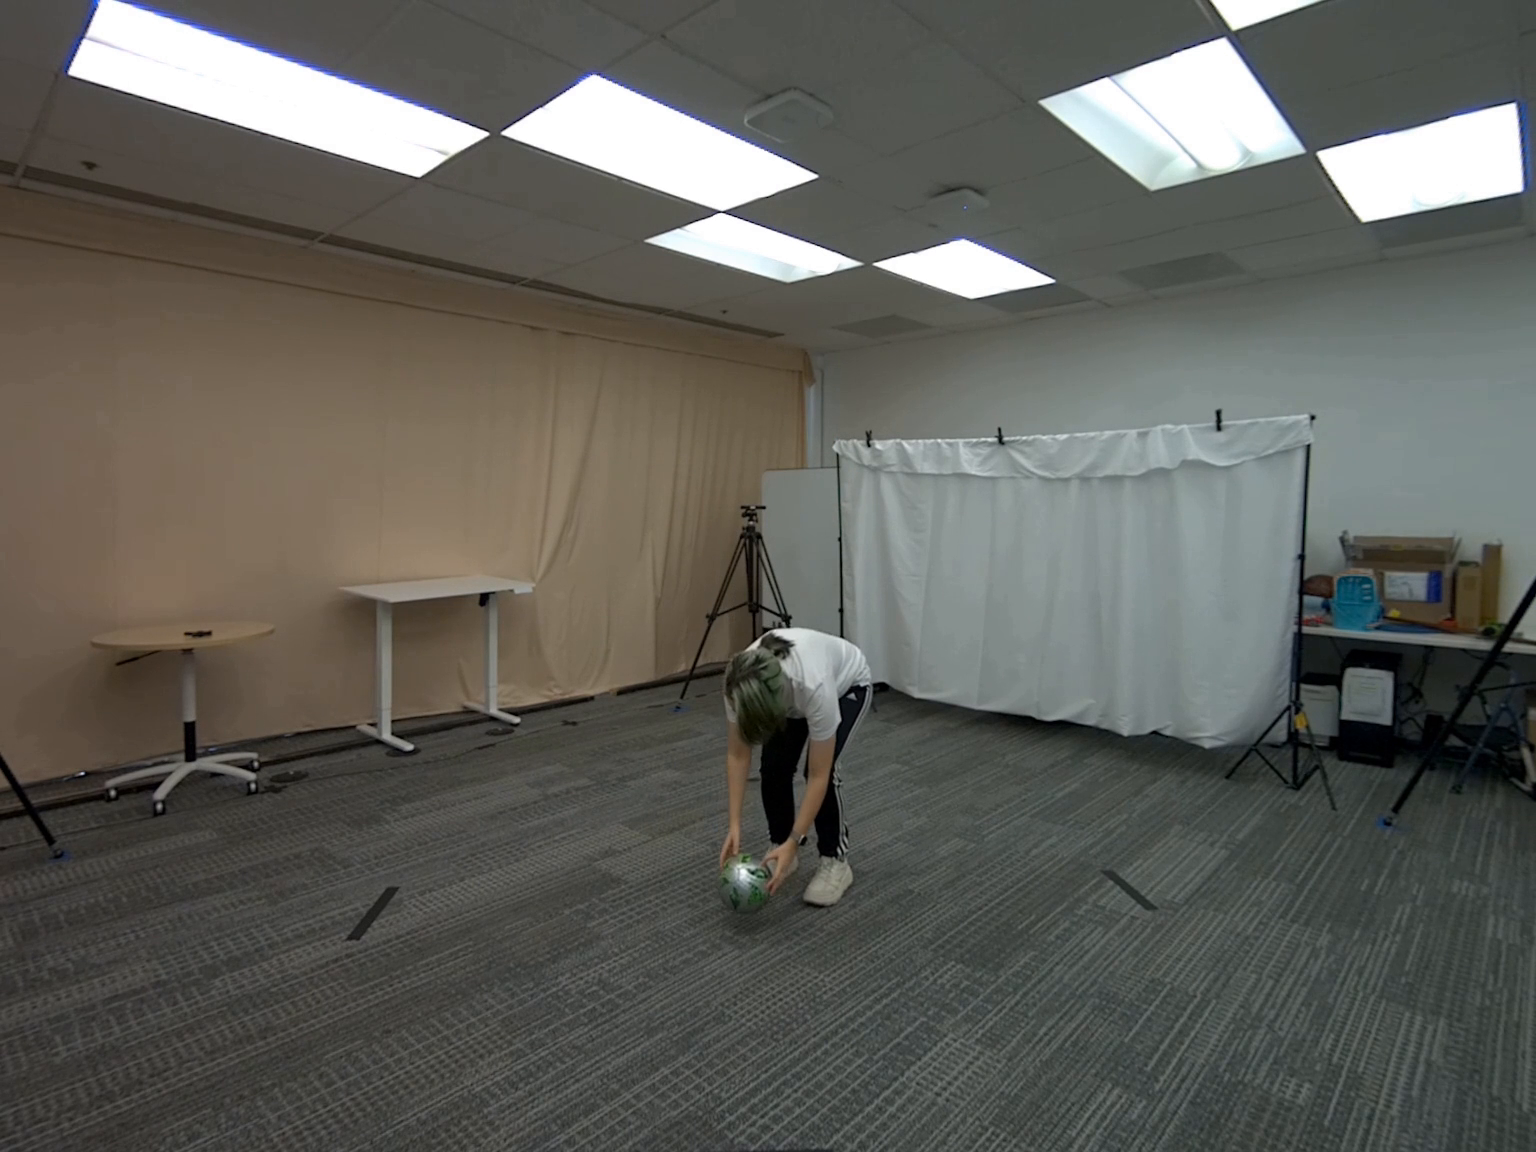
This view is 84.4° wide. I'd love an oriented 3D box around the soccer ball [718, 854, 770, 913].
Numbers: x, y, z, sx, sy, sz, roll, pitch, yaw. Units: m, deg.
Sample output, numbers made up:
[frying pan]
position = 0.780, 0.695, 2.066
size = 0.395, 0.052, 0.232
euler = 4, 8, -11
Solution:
[soccer ball]
position = -0.074, 1.002, 2.770
size = 0.187, 0.187, 0.188
euler = 0, 4, -2
